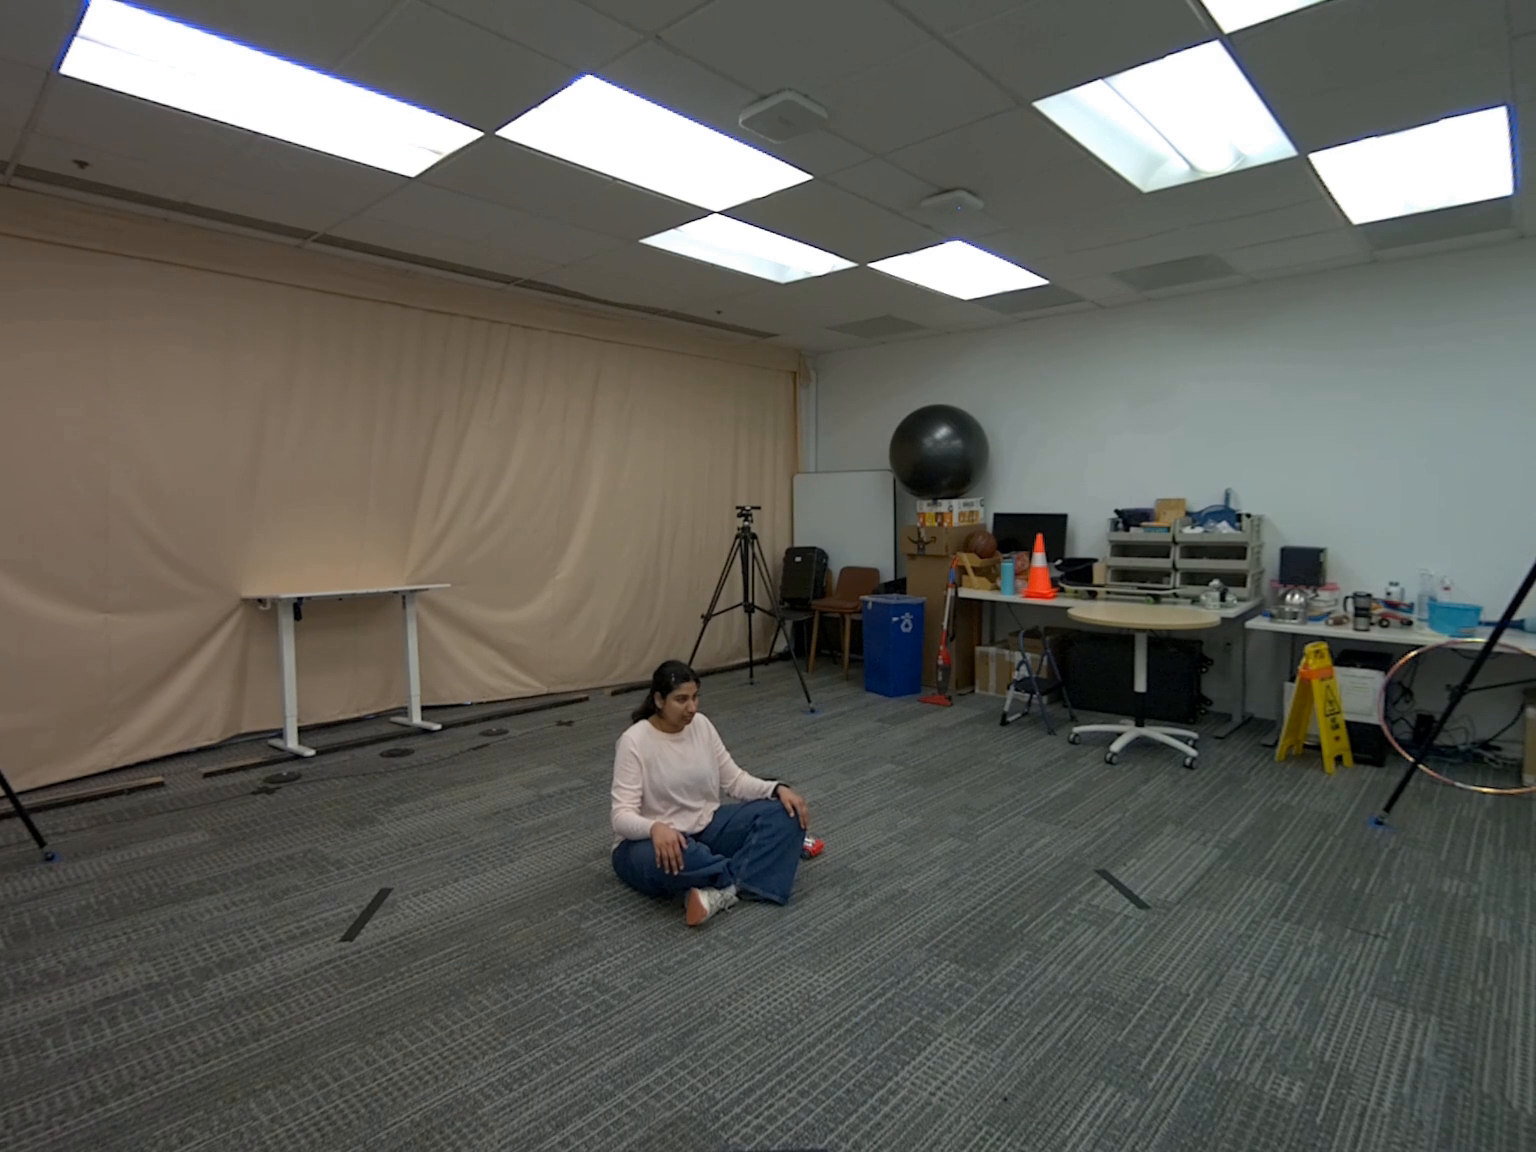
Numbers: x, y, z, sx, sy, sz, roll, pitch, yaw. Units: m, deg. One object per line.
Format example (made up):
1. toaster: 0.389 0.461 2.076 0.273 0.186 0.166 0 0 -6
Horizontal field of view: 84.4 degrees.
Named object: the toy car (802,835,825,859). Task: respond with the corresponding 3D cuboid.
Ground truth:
1. toy car: 0.099 1.082 3.408 0.263 0.083 0.127 13 11 32
